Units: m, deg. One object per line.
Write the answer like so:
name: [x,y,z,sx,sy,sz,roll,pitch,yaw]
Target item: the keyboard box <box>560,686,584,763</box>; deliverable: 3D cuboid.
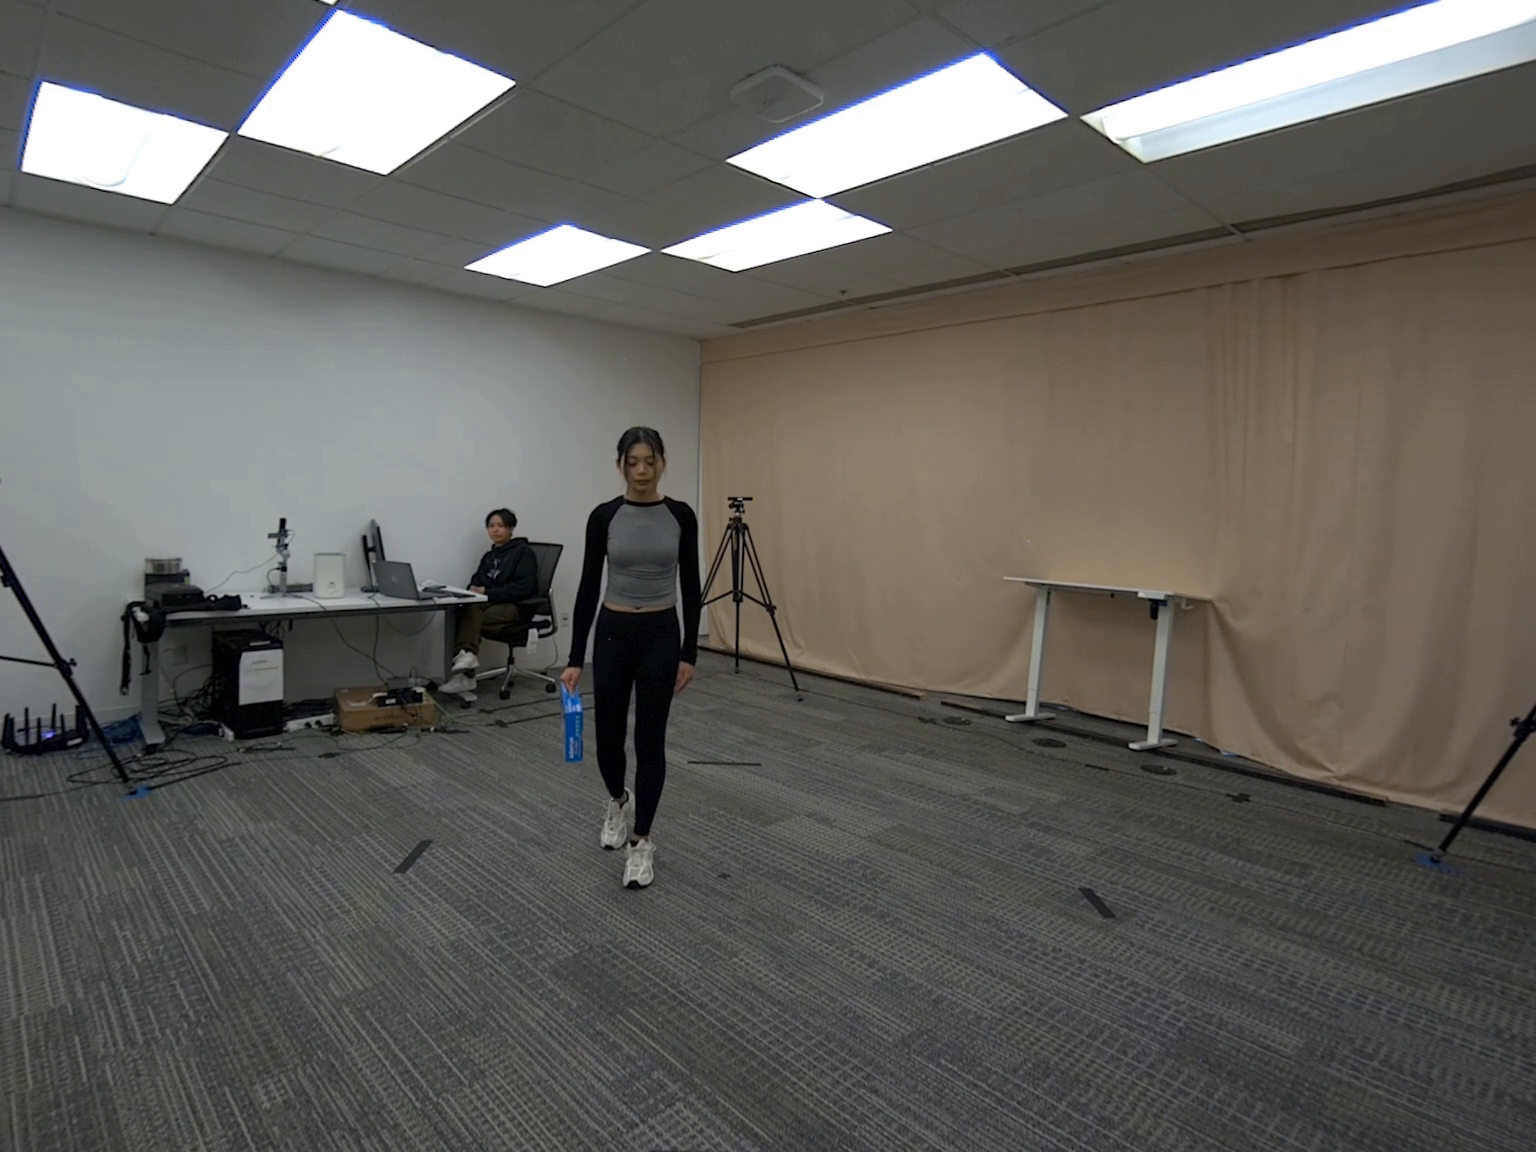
keyboard box: [-0.719,0.512,3.053,0.058,0.175,0.444,0,8,-16]
